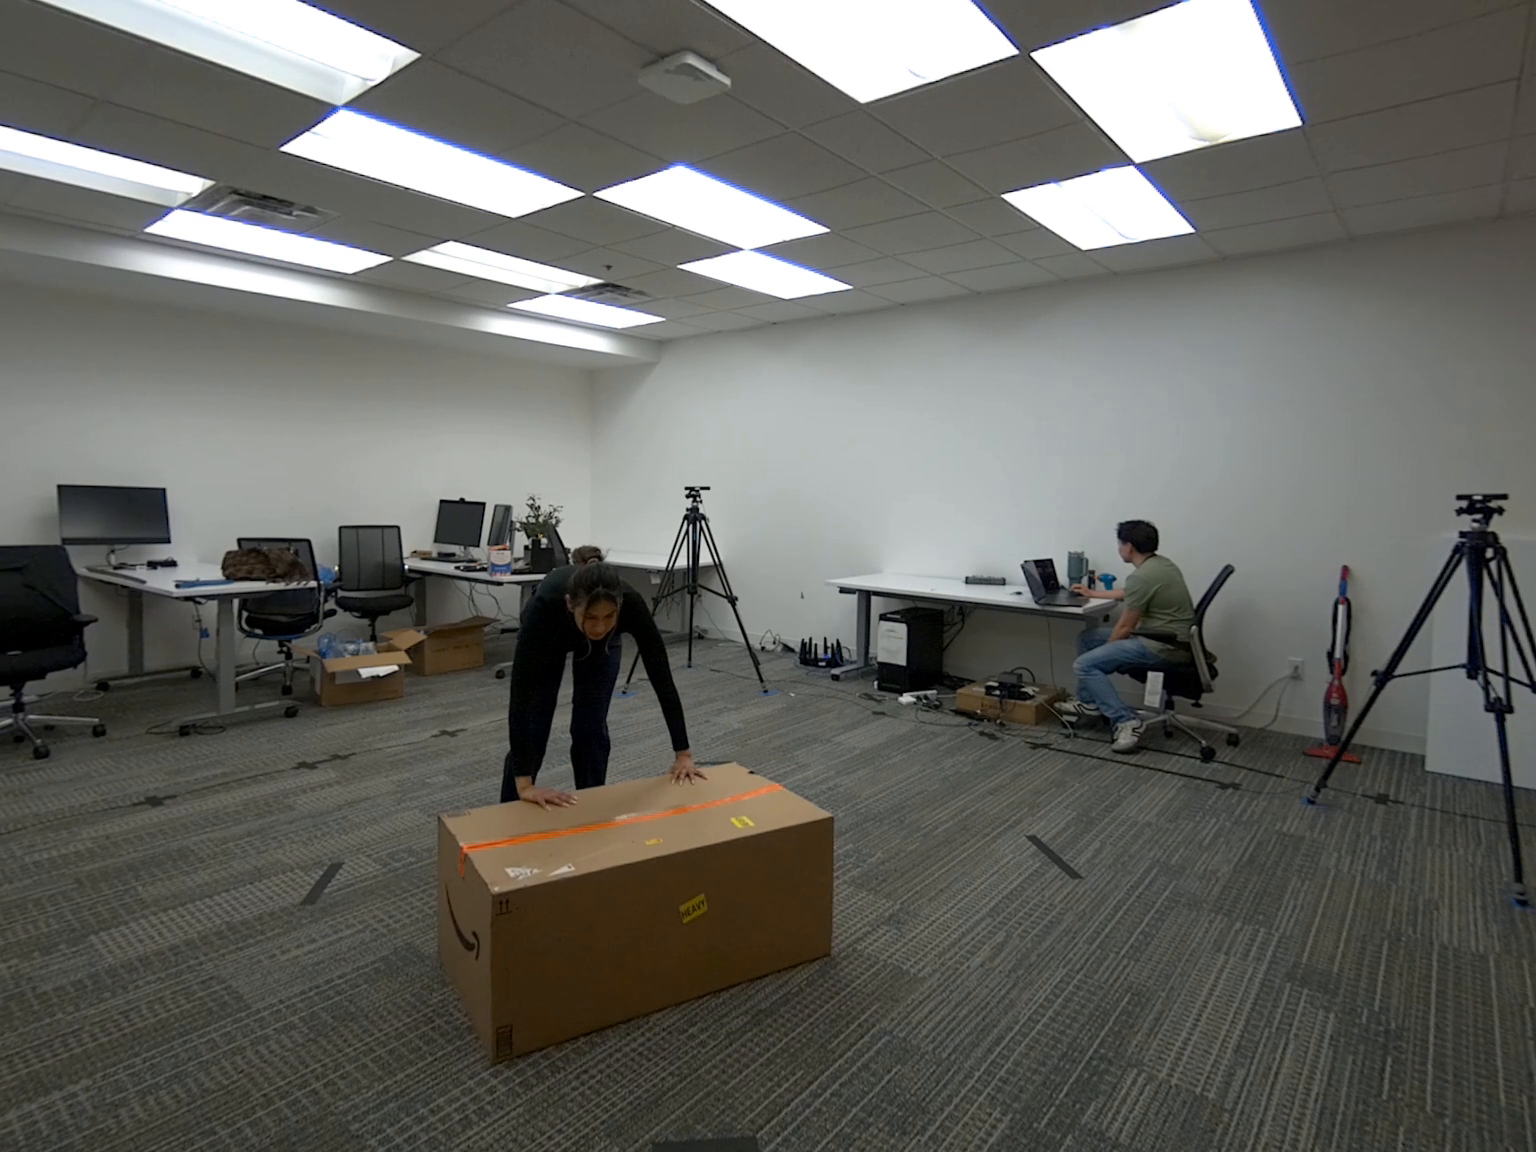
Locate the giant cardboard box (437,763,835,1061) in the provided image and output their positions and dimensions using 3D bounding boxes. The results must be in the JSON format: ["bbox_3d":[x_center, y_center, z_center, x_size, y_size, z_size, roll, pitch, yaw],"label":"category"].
[{"bbox_3d":[-0.390,0.911,2.515,0.998,0.425,0.595,-3,5,-32],"label":"giant cardboard box"}]
